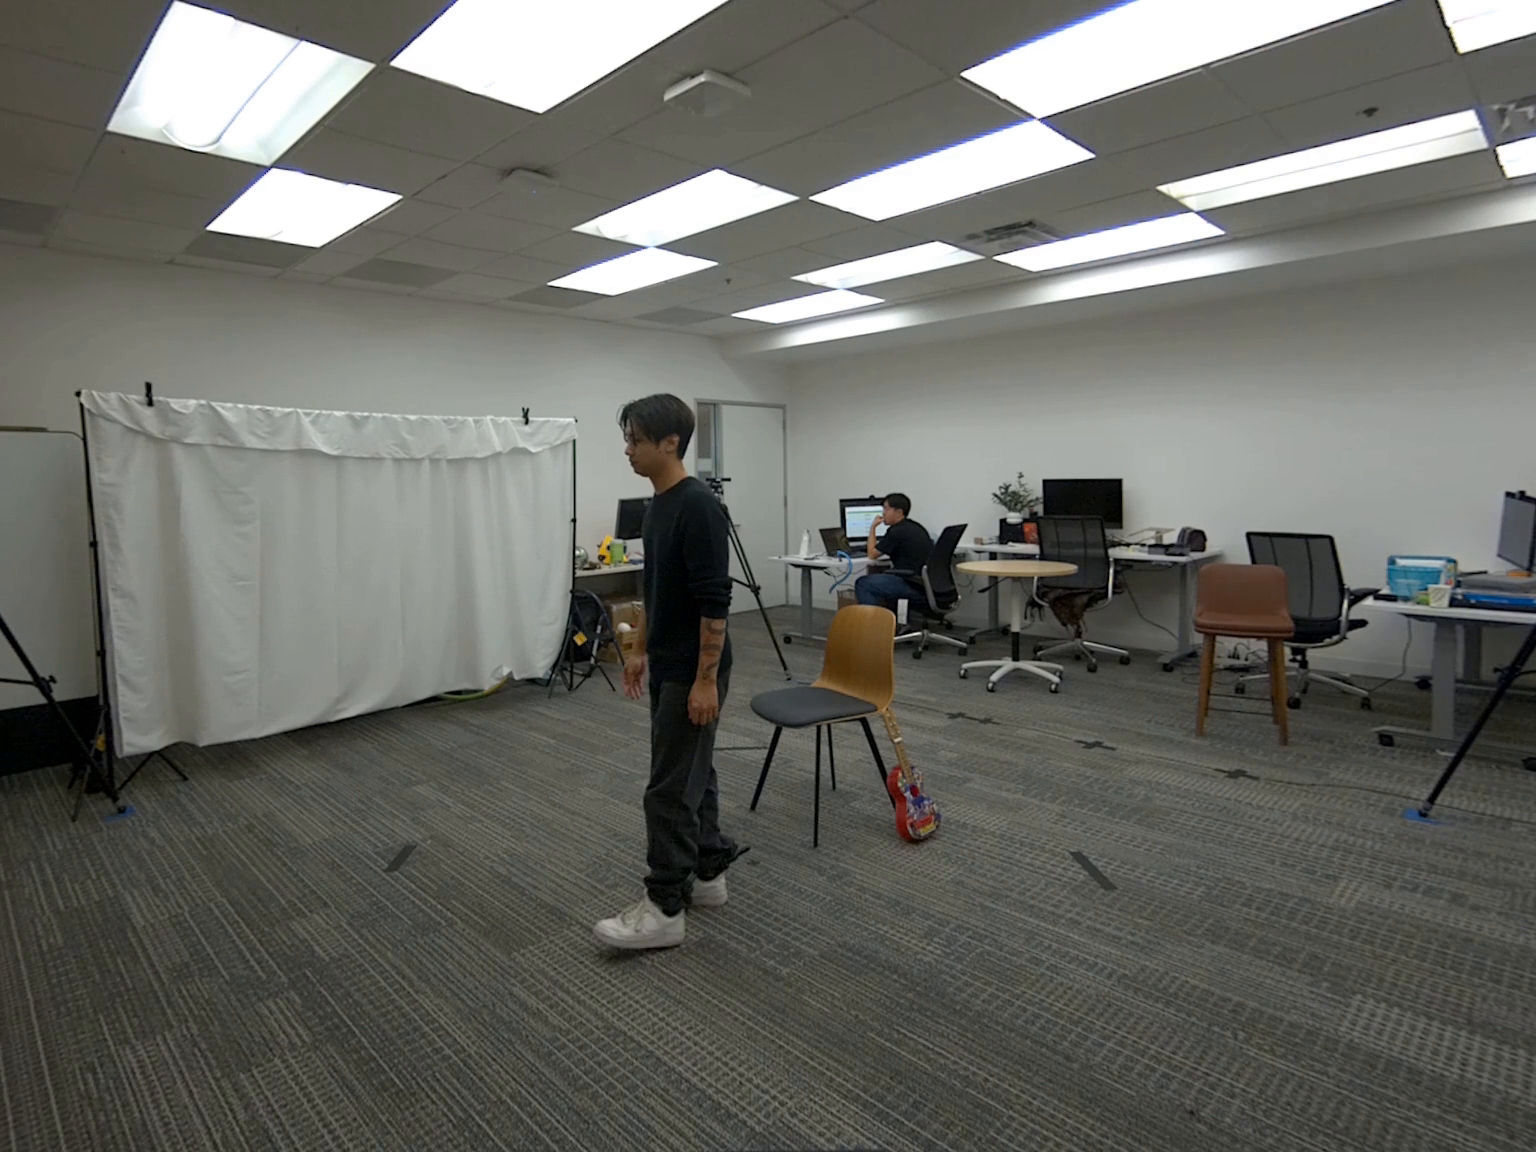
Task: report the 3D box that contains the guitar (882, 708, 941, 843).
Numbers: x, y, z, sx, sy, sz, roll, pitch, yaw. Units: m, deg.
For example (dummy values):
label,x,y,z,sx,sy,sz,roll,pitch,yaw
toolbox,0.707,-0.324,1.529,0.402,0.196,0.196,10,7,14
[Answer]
label,x,y,z,sx,sy,sz,roll,pitch,yaw
guitar,0.550,0.761,3.333,0.188,0.505,0.071,-1,-16,-35
